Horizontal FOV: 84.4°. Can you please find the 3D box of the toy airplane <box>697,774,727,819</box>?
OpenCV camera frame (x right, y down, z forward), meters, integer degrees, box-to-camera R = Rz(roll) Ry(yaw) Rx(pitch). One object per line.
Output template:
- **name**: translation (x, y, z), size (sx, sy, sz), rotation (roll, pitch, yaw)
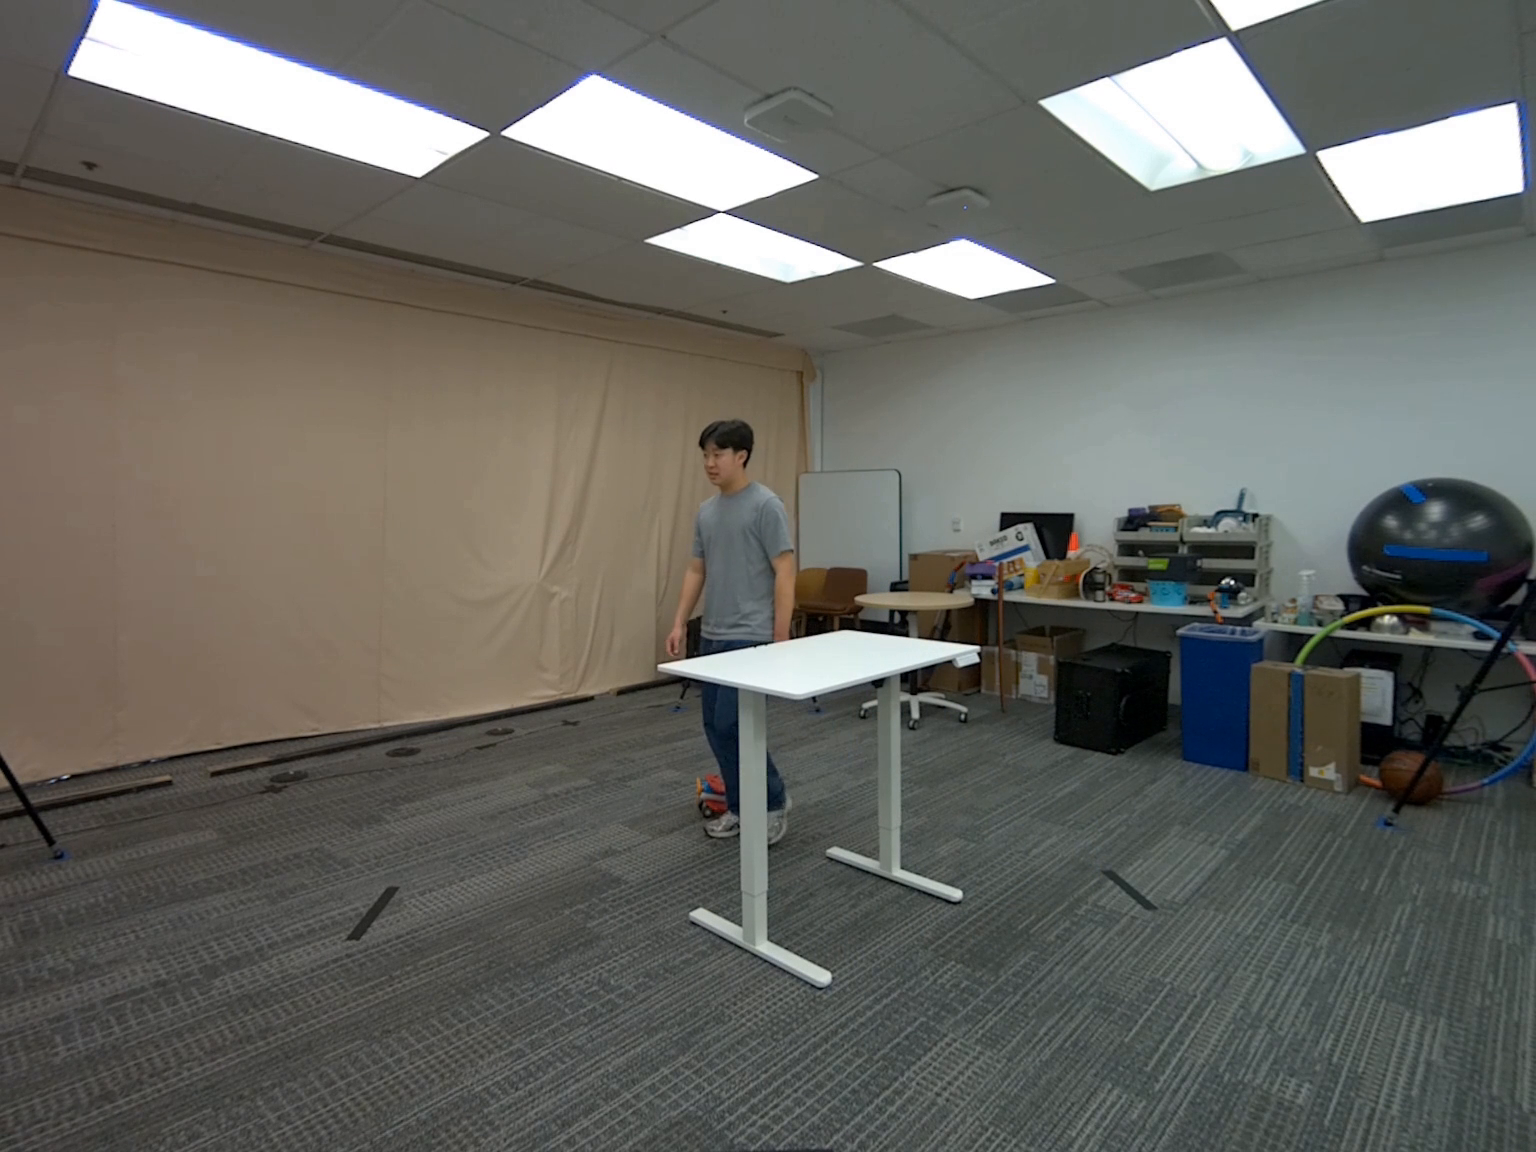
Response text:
- **toy airplane**: translation (-0.209, 1.001, 3.847), size (0.251, 0.156, 0.259), rotation (-6, 7, -44)
